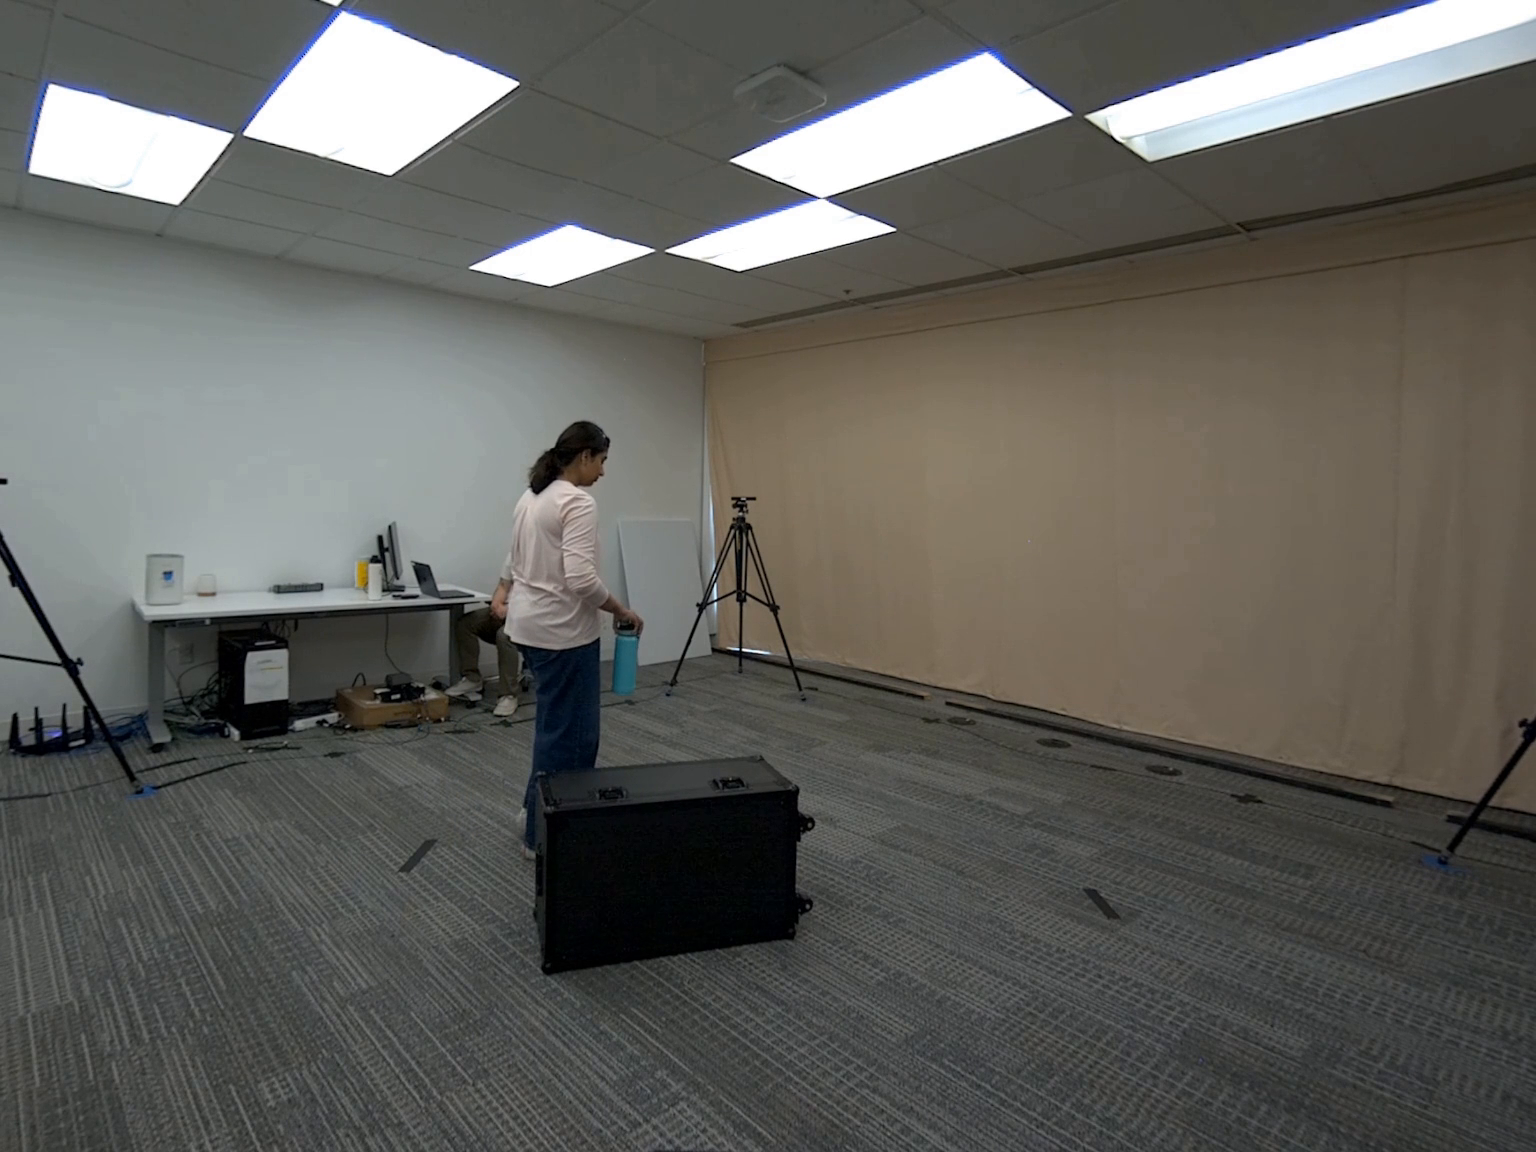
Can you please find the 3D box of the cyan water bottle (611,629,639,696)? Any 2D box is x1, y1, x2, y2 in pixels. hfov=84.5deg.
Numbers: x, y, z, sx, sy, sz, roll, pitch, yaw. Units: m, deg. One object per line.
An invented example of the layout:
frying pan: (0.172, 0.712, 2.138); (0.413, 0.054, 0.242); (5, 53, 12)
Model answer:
cyan water bottle: (-0.563, 0.311, 3.244); (0.092, 0.282, 0.093); (5, 6, -2)
